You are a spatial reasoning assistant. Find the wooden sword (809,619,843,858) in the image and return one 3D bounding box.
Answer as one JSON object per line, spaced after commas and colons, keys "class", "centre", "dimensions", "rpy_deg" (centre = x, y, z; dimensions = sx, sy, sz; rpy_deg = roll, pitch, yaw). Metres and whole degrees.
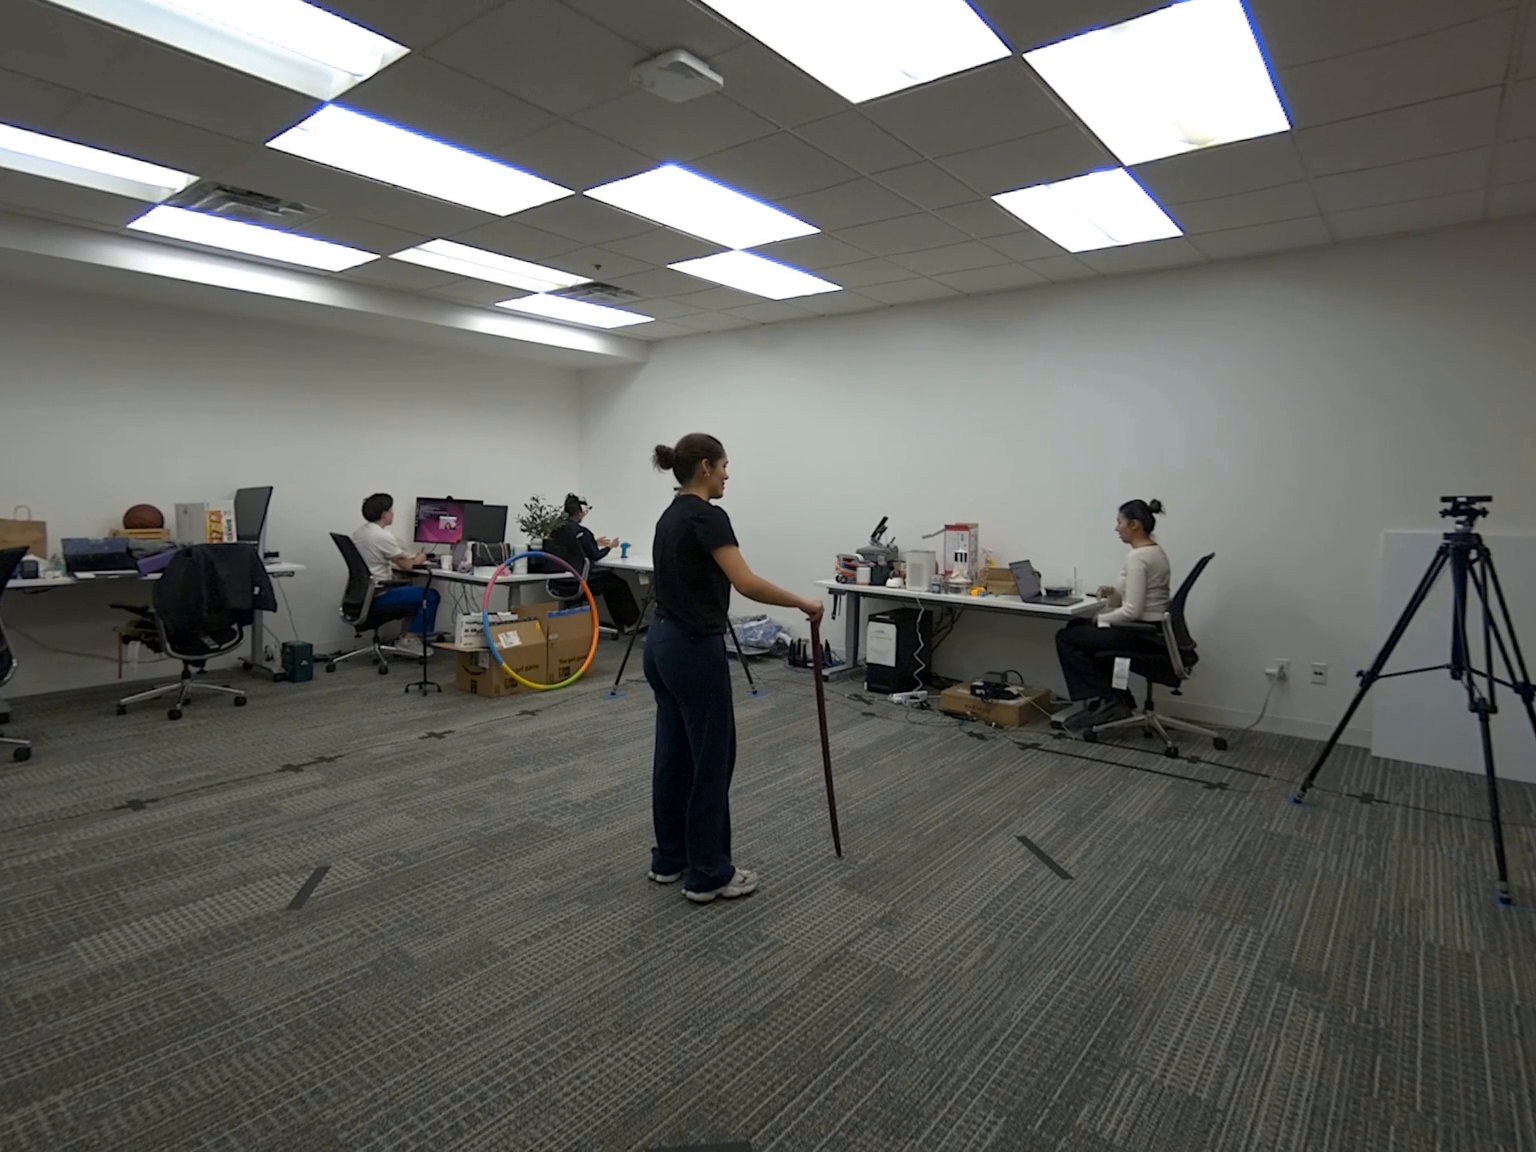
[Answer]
{"class": "wooden sword", "centre": [0.224, 0.584, 3.089], "dimensions": [0.051, 1.007, 0.025], "rpy_deg": [-10, 17, -13]}
